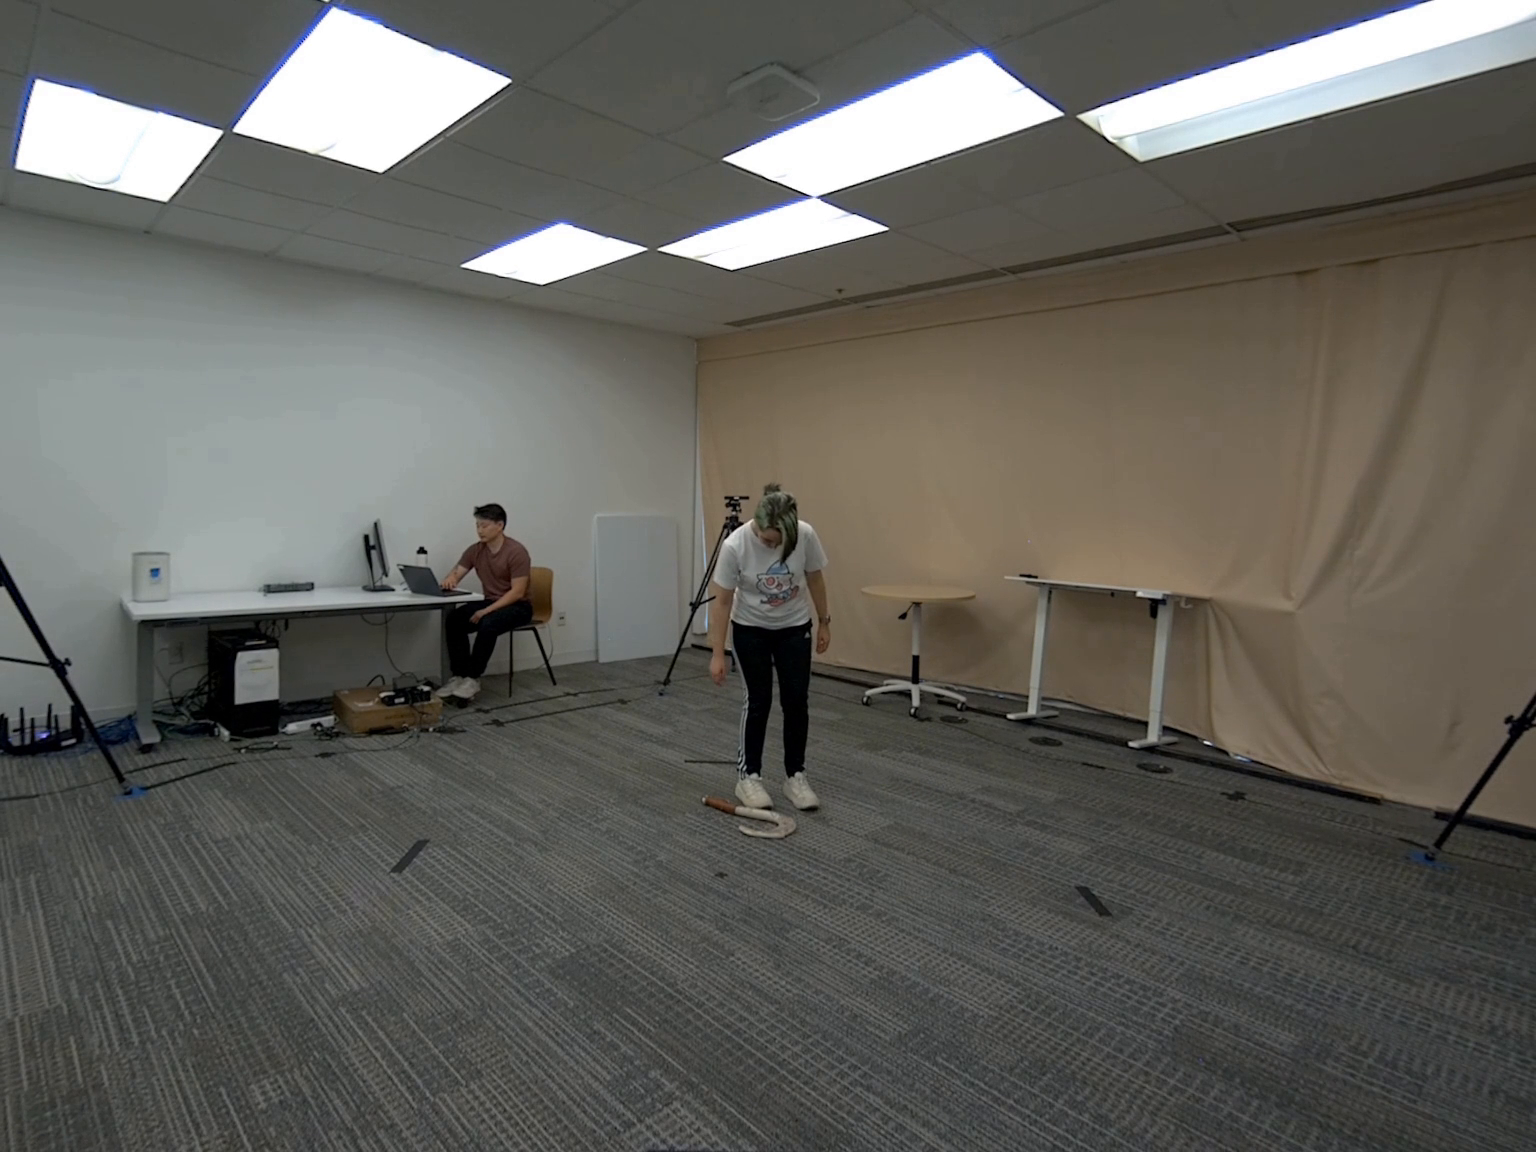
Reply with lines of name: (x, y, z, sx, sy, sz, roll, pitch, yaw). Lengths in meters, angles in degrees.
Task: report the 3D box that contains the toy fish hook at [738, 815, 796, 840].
toy fish hook: (-0.123, 1.039, 3.628, 0.519, 0.048, 0.219, 5, 3, 36)
